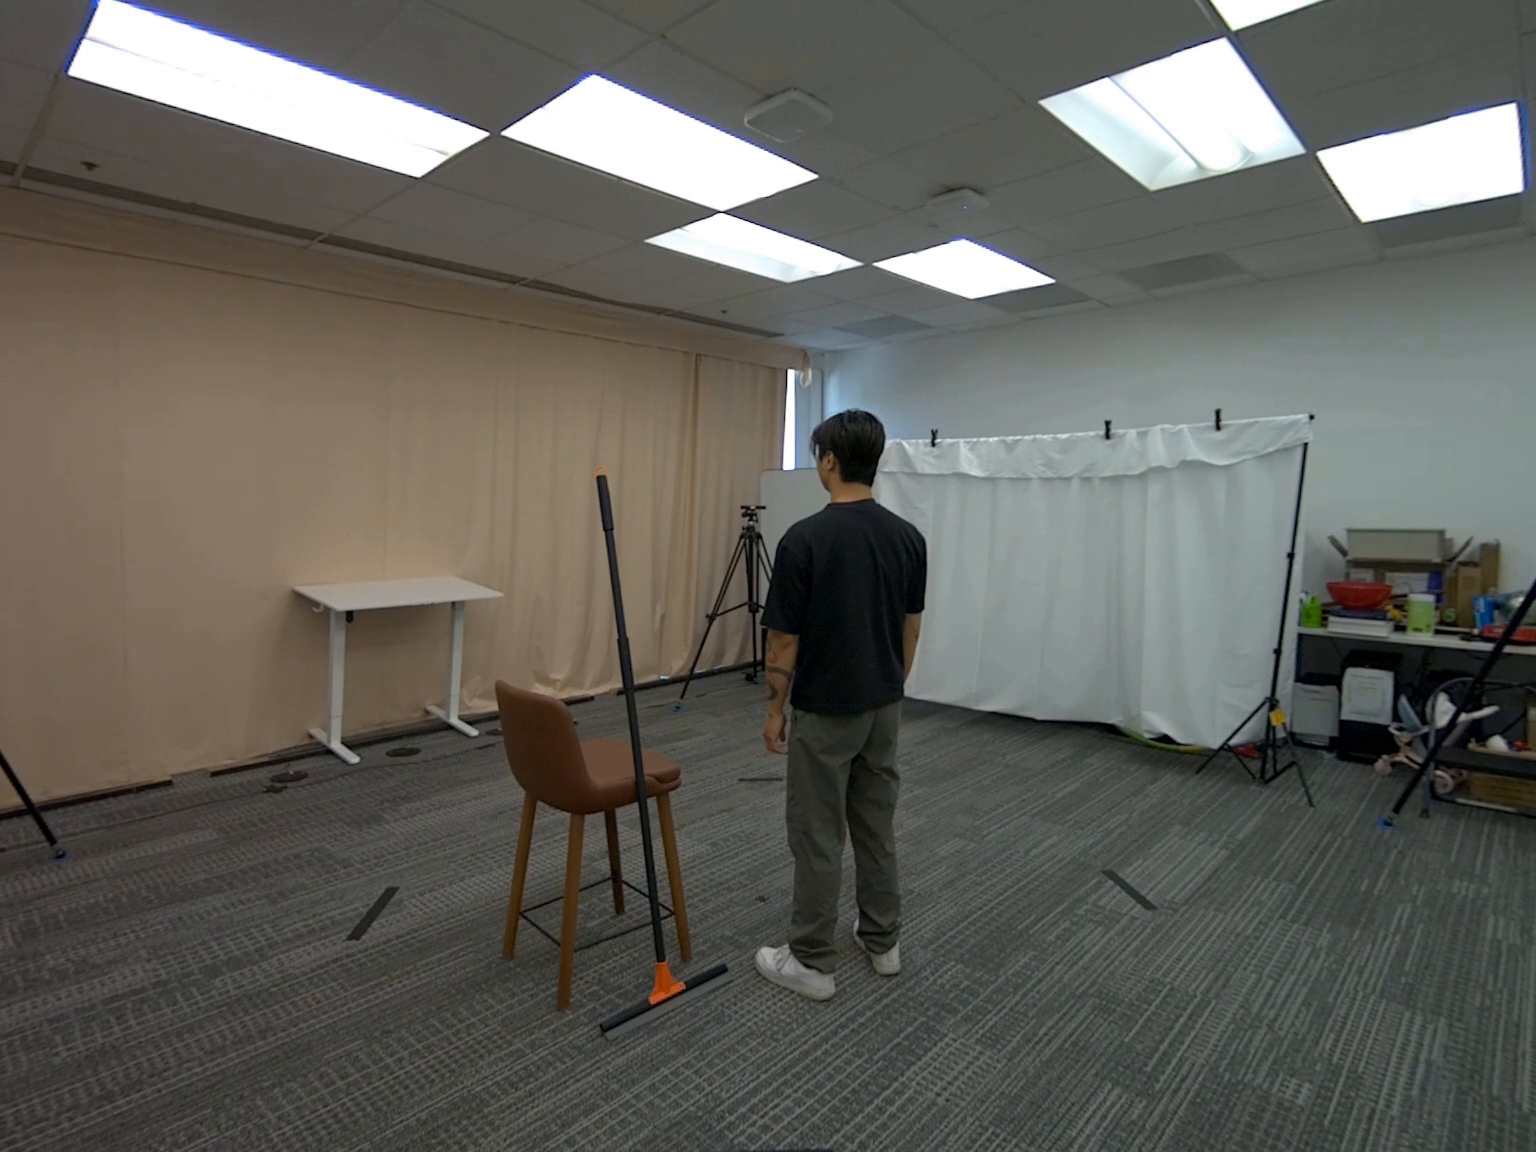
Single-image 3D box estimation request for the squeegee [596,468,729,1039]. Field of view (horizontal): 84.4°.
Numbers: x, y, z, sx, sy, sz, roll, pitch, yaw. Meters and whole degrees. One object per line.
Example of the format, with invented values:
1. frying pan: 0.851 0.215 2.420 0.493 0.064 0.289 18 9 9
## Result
1. squeegee: -0.381 0.434 2.420 0.427 1.540 0.054 -7 -2 -27
